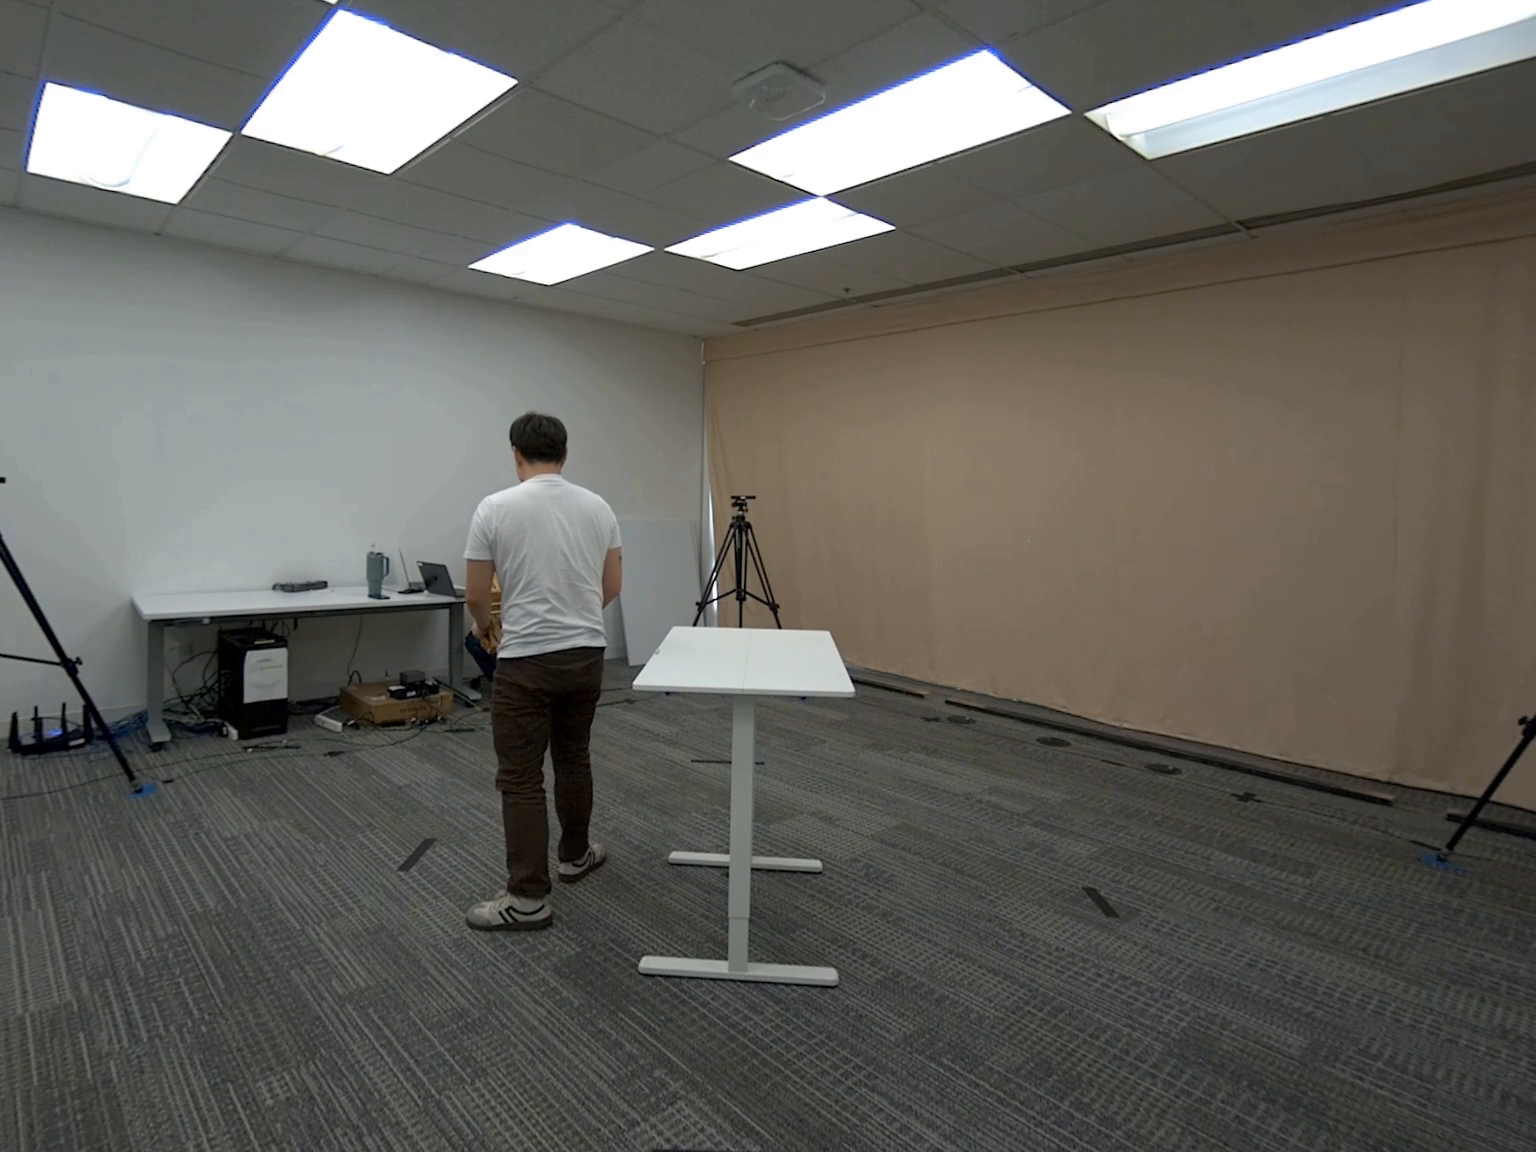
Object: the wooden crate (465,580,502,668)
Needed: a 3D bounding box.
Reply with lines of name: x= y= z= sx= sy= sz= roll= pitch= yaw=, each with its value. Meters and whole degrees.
wooden crate: x=-0.915 y=0.091 z=3.134 sx=0.318 sy=0.270 sz=0.312 roll=-4 pitch=32 yaw=-35
